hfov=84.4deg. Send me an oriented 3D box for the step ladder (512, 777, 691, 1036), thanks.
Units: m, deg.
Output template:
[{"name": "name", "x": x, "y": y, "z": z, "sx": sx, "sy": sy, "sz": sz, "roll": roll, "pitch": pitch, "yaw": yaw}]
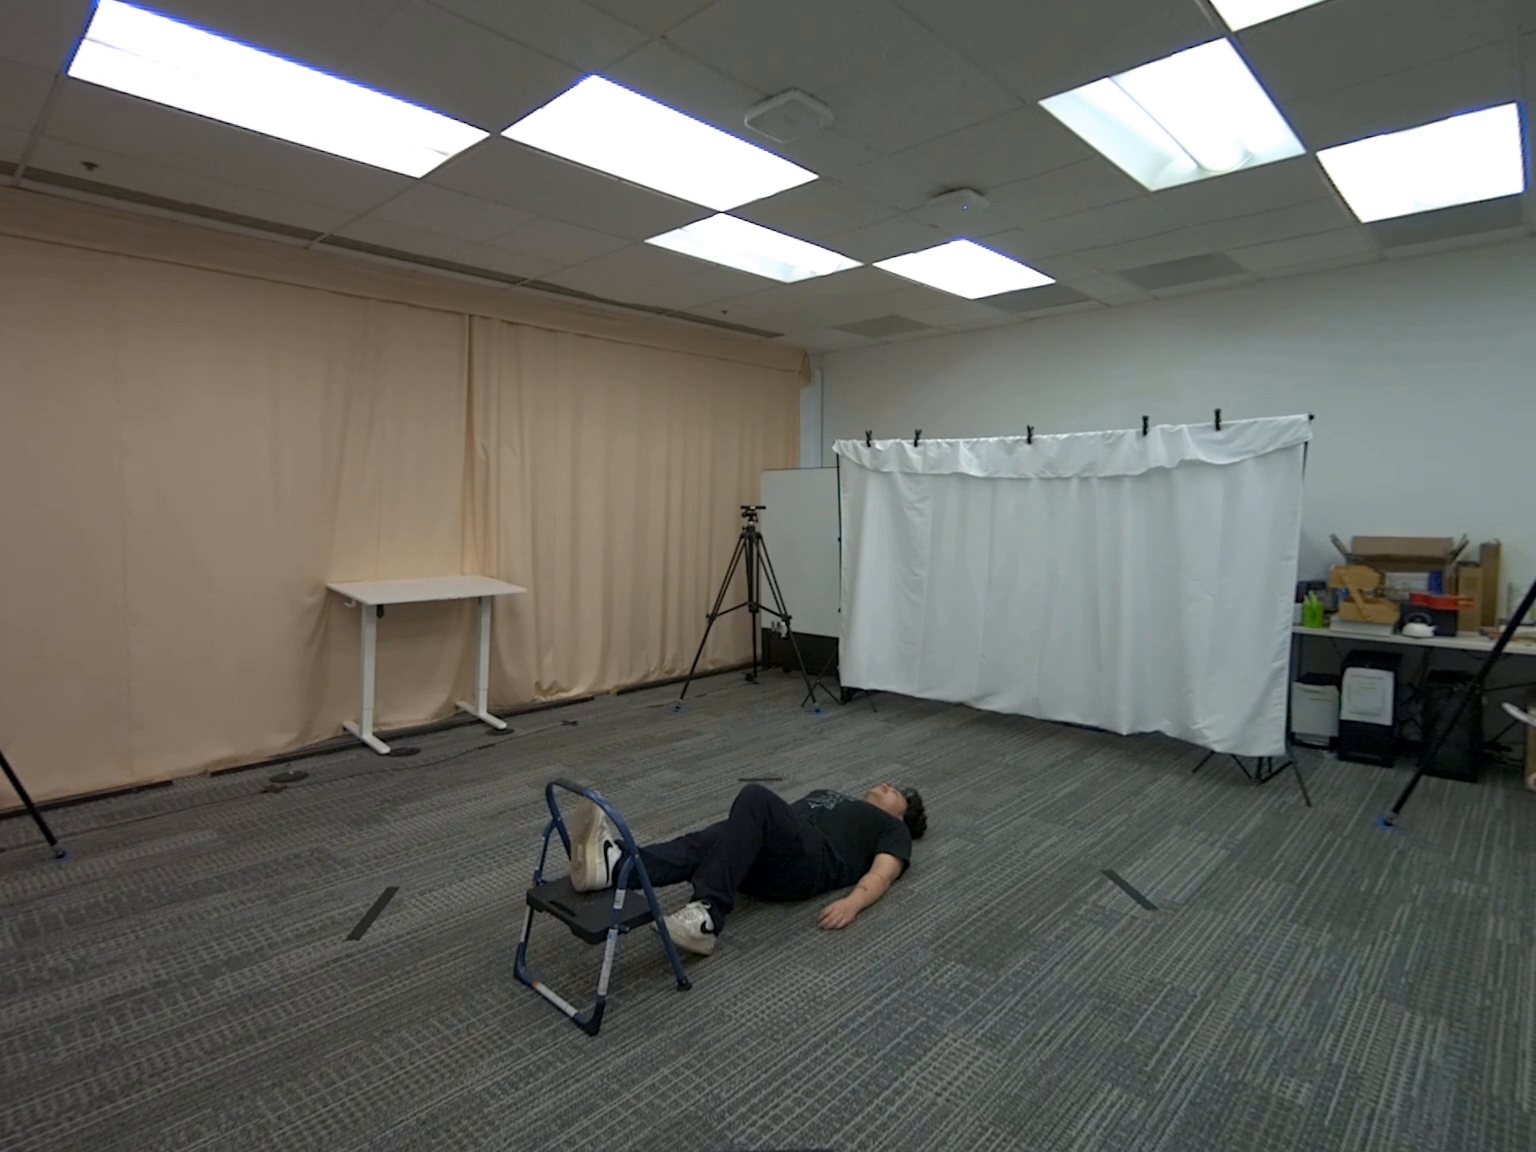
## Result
[{"name": "step ladder", "x": -0.498, "y": 0.894, "z": 2.450, "sx": 0.445, "sy": 0.605, "sz": 0.338, "roll": 2, "pitch": 4, "yaw": 44}]
